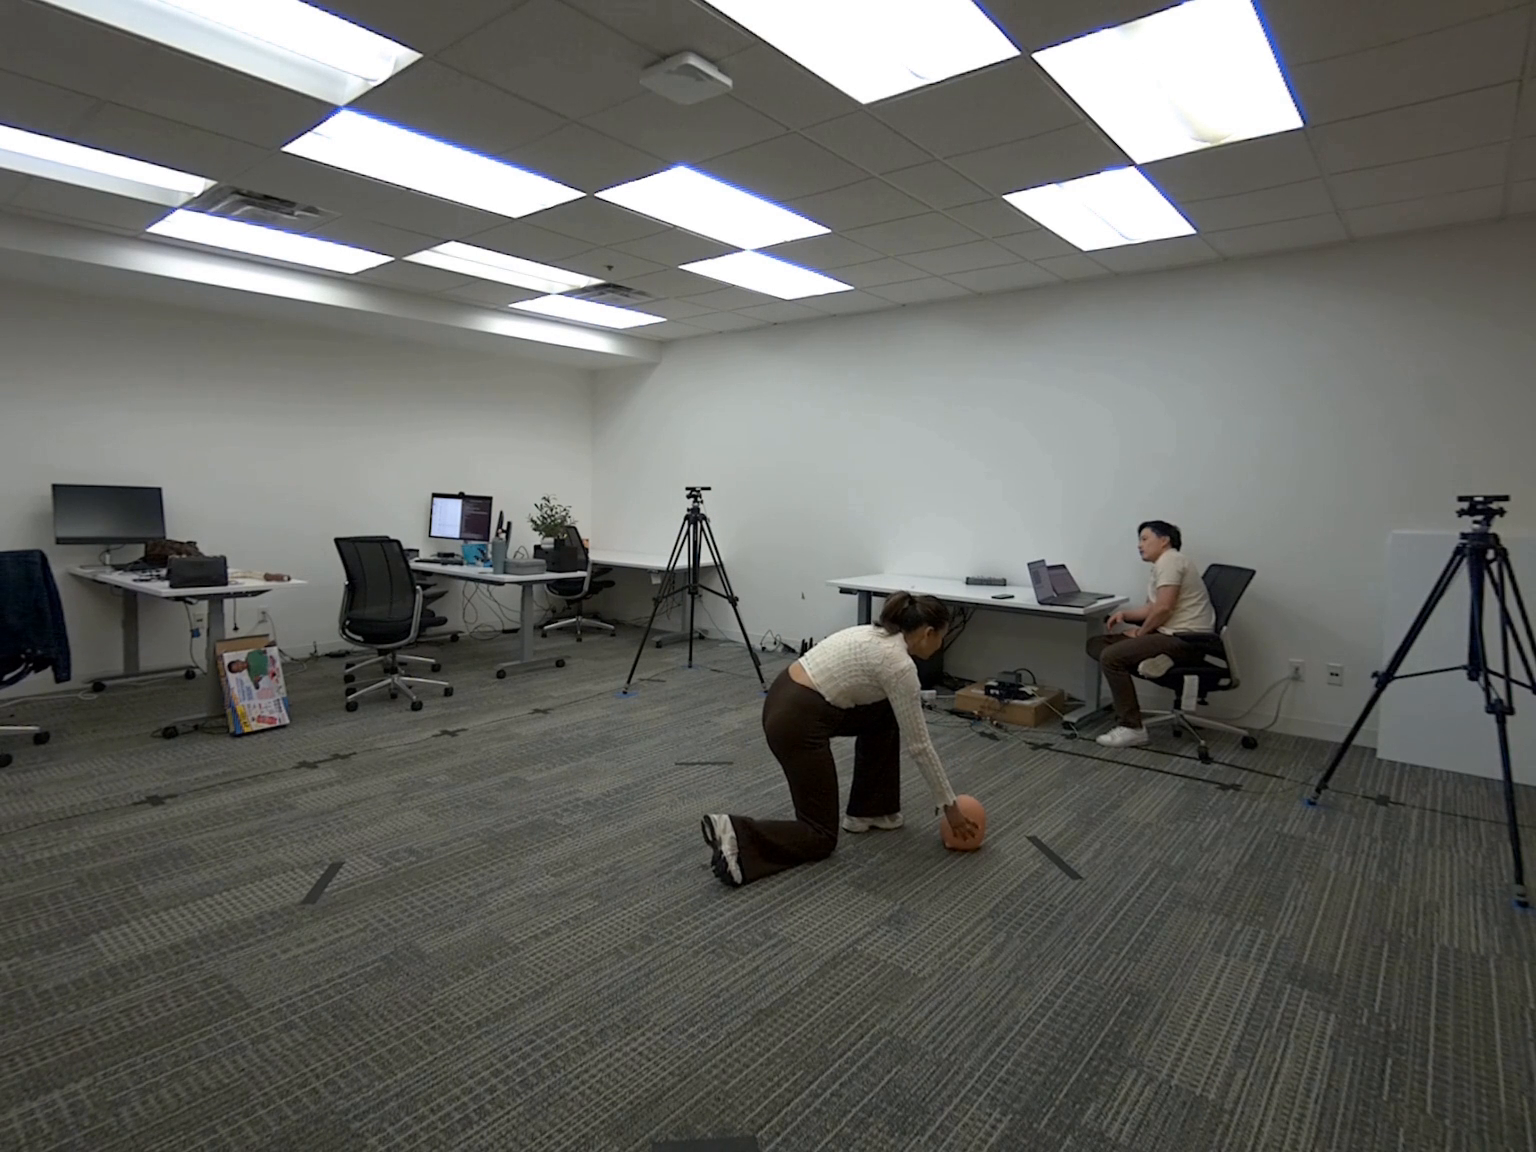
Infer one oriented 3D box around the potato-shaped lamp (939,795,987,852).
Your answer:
[{"bbox_3d":[0.761,0.963,3.354,0.169,0.196,0.168,10,10,26],"label":"potato-shaped lamp"}]
